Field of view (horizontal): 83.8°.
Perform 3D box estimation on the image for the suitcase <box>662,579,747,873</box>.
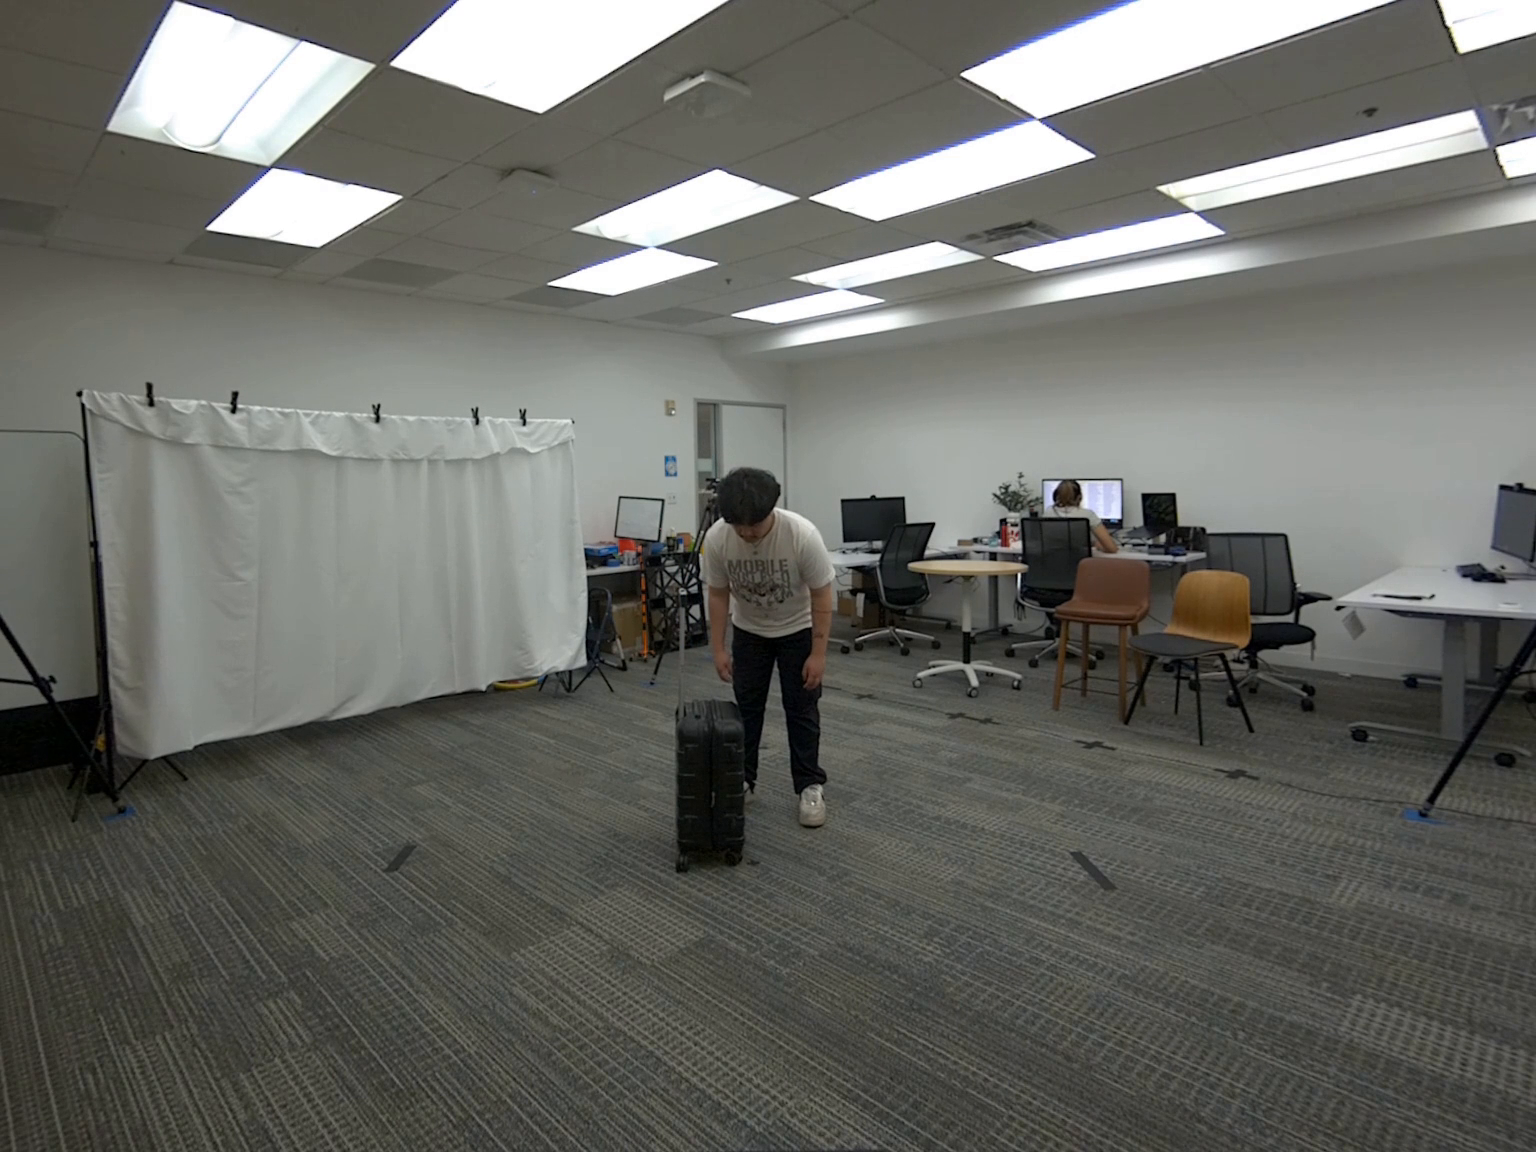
[{"bbox_3d":[-0.223,0.557,3.201,0.256,0.975,0.387,1,4,-5],"label":"suitcase"}]
